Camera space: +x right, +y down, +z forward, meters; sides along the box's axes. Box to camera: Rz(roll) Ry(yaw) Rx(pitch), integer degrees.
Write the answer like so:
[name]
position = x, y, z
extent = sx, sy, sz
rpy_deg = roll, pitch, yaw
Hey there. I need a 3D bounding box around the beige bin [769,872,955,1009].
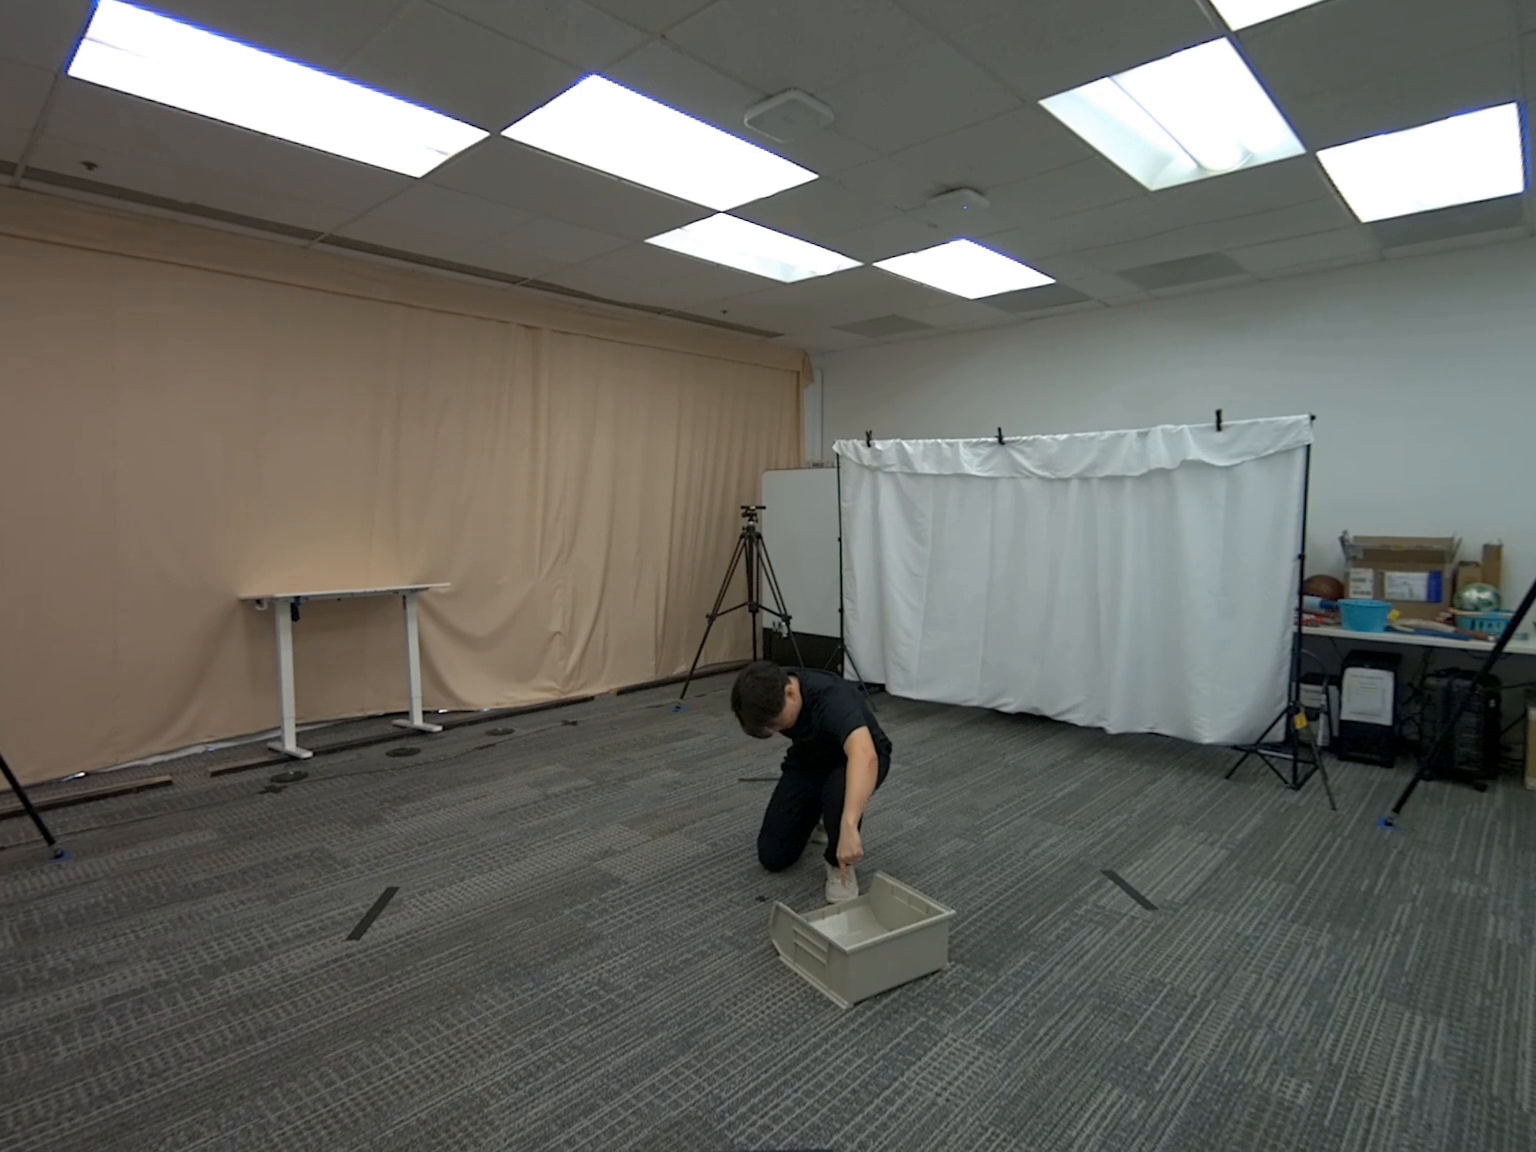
[beige bin]
position = 0.279, 1.083, 2.573
extent = 0.410, 0.188, 0.389
rpy_deg = -2, 5, -33
